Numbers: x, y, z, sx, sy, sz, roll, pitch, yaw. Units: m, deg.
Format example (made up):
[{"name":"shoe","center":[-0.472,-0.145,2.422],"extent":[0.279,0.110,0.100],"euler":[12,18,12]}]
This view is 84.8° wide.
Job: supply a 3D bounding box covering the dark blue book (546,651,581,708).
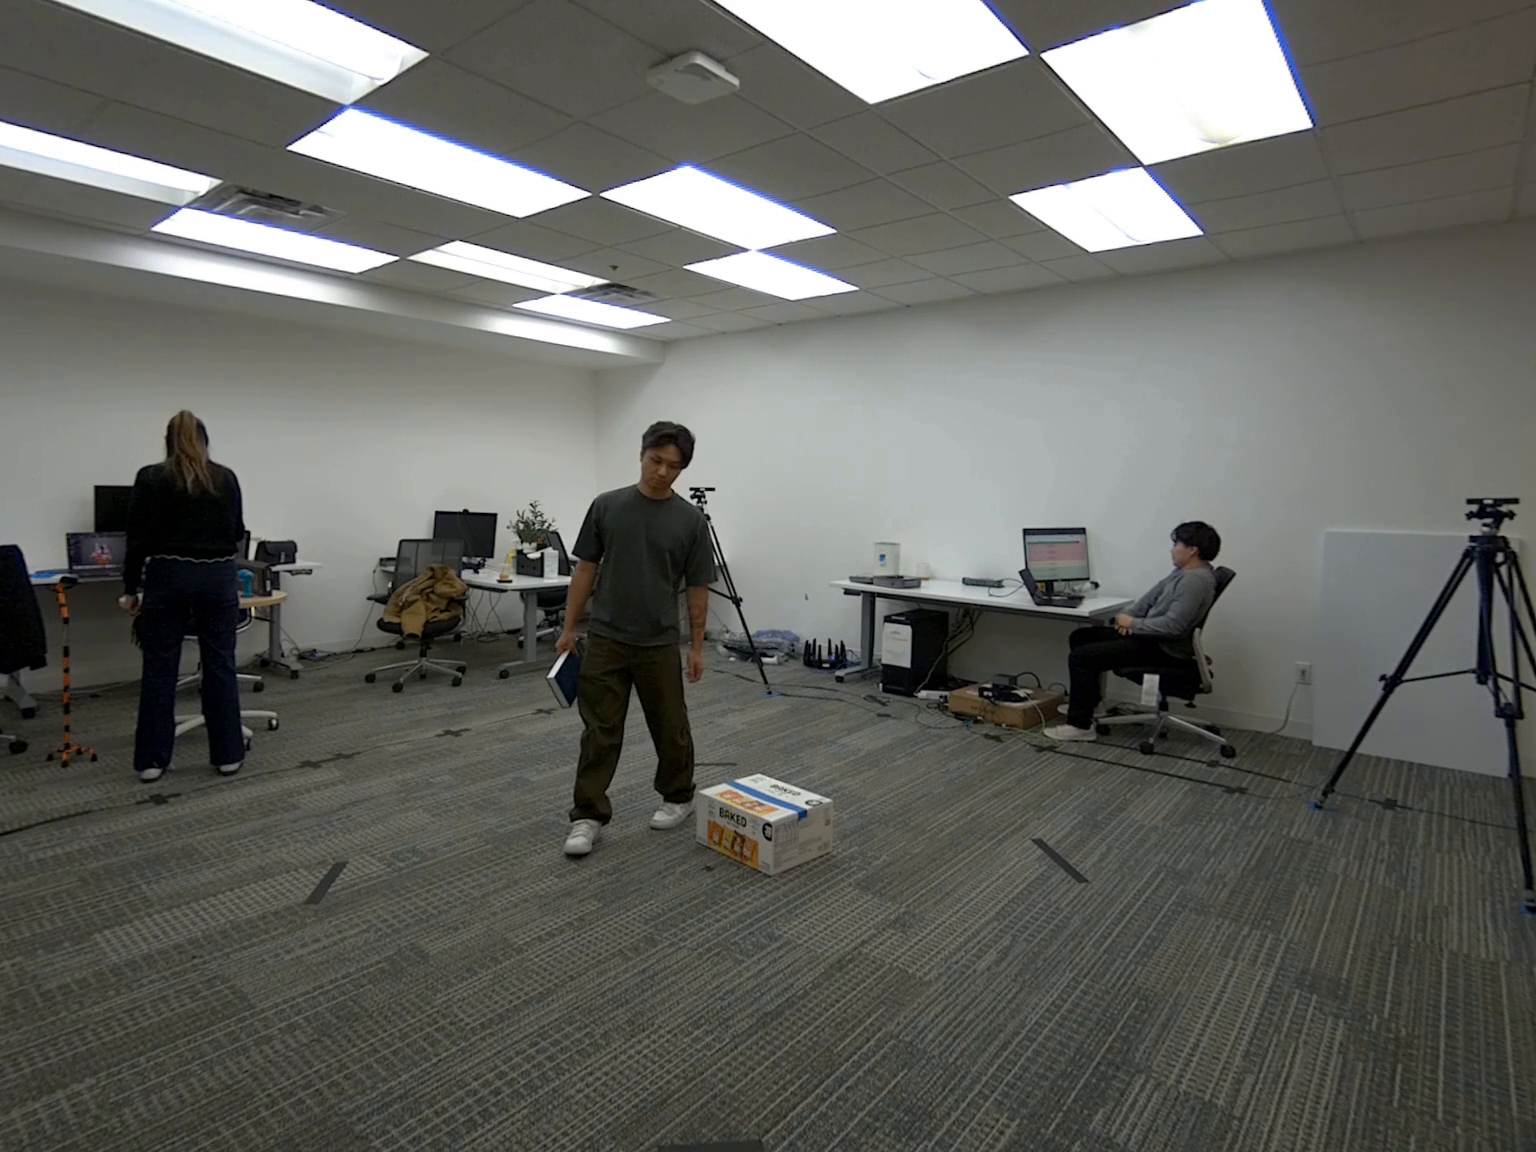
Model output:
[{"name":"dark blue book","center":[-0.806,0.384,3.431],"extent":[0.046,0.158,0.248],"euler":[-9,30,21]}]
